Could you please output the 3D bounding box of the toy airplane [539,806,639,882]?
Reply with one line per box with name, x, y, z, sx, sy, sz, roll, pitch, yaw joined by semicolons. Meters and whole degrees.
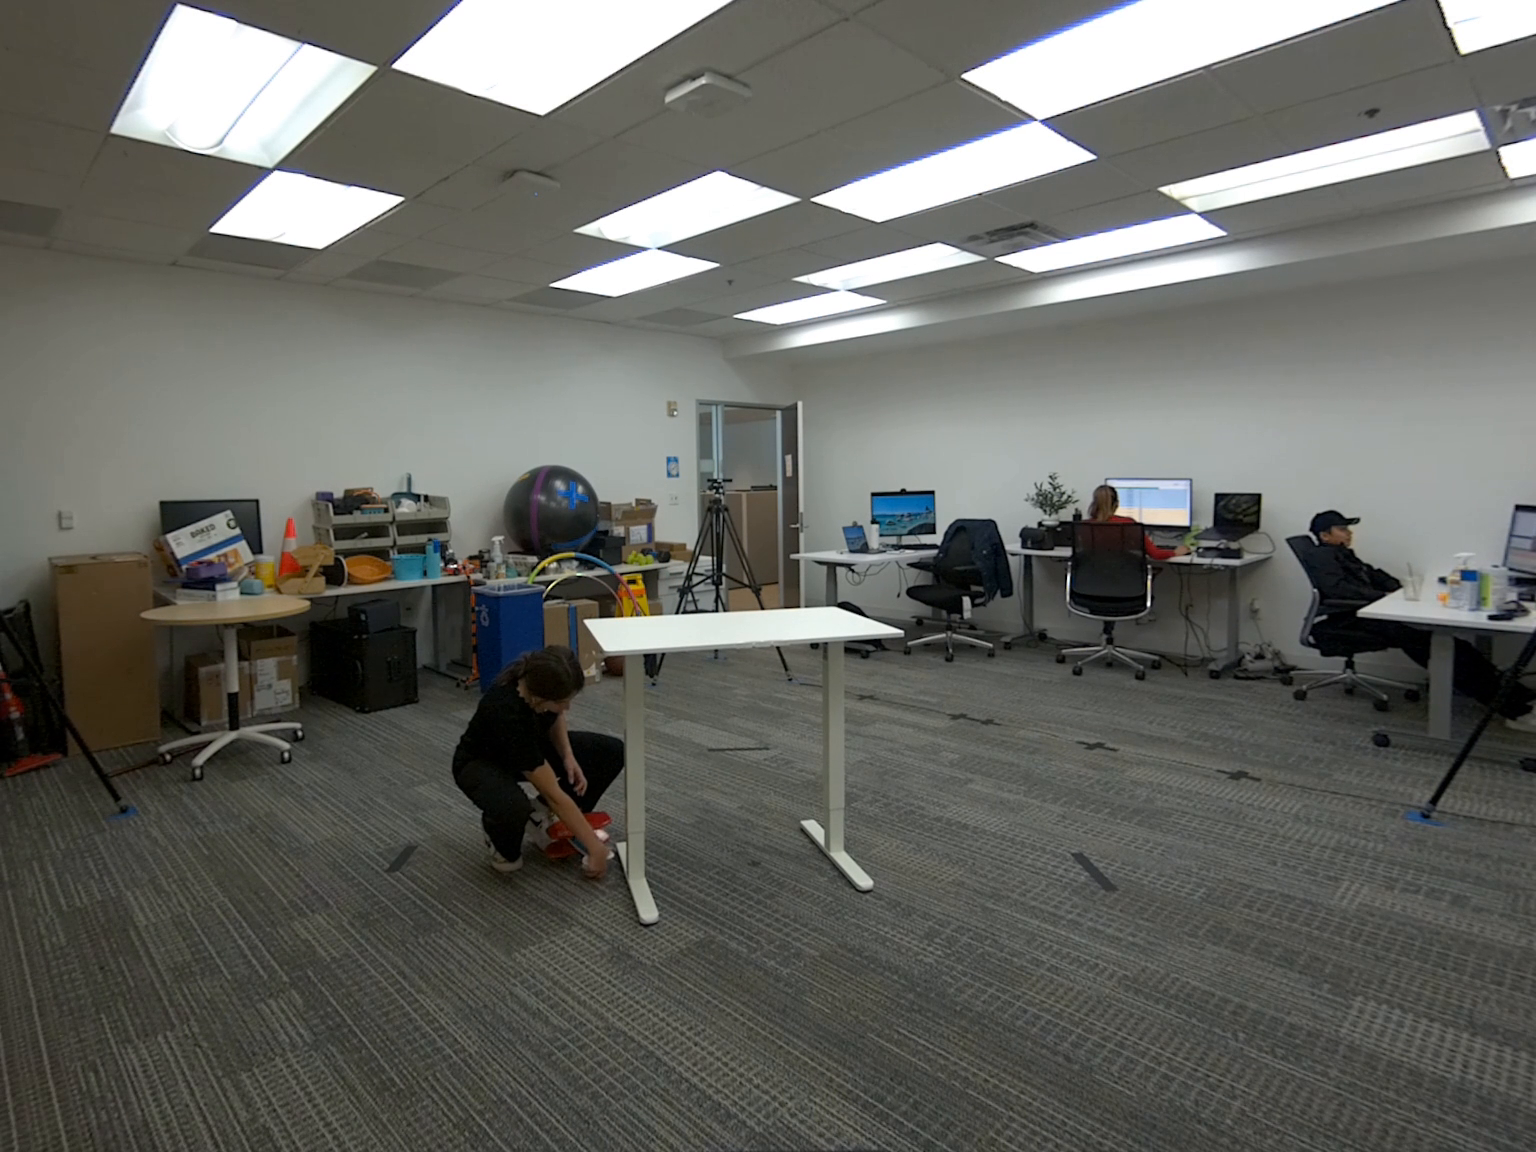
toy airplane;-0.654;0.969;3.135;0.265;0.156;0.246;0;4;23
